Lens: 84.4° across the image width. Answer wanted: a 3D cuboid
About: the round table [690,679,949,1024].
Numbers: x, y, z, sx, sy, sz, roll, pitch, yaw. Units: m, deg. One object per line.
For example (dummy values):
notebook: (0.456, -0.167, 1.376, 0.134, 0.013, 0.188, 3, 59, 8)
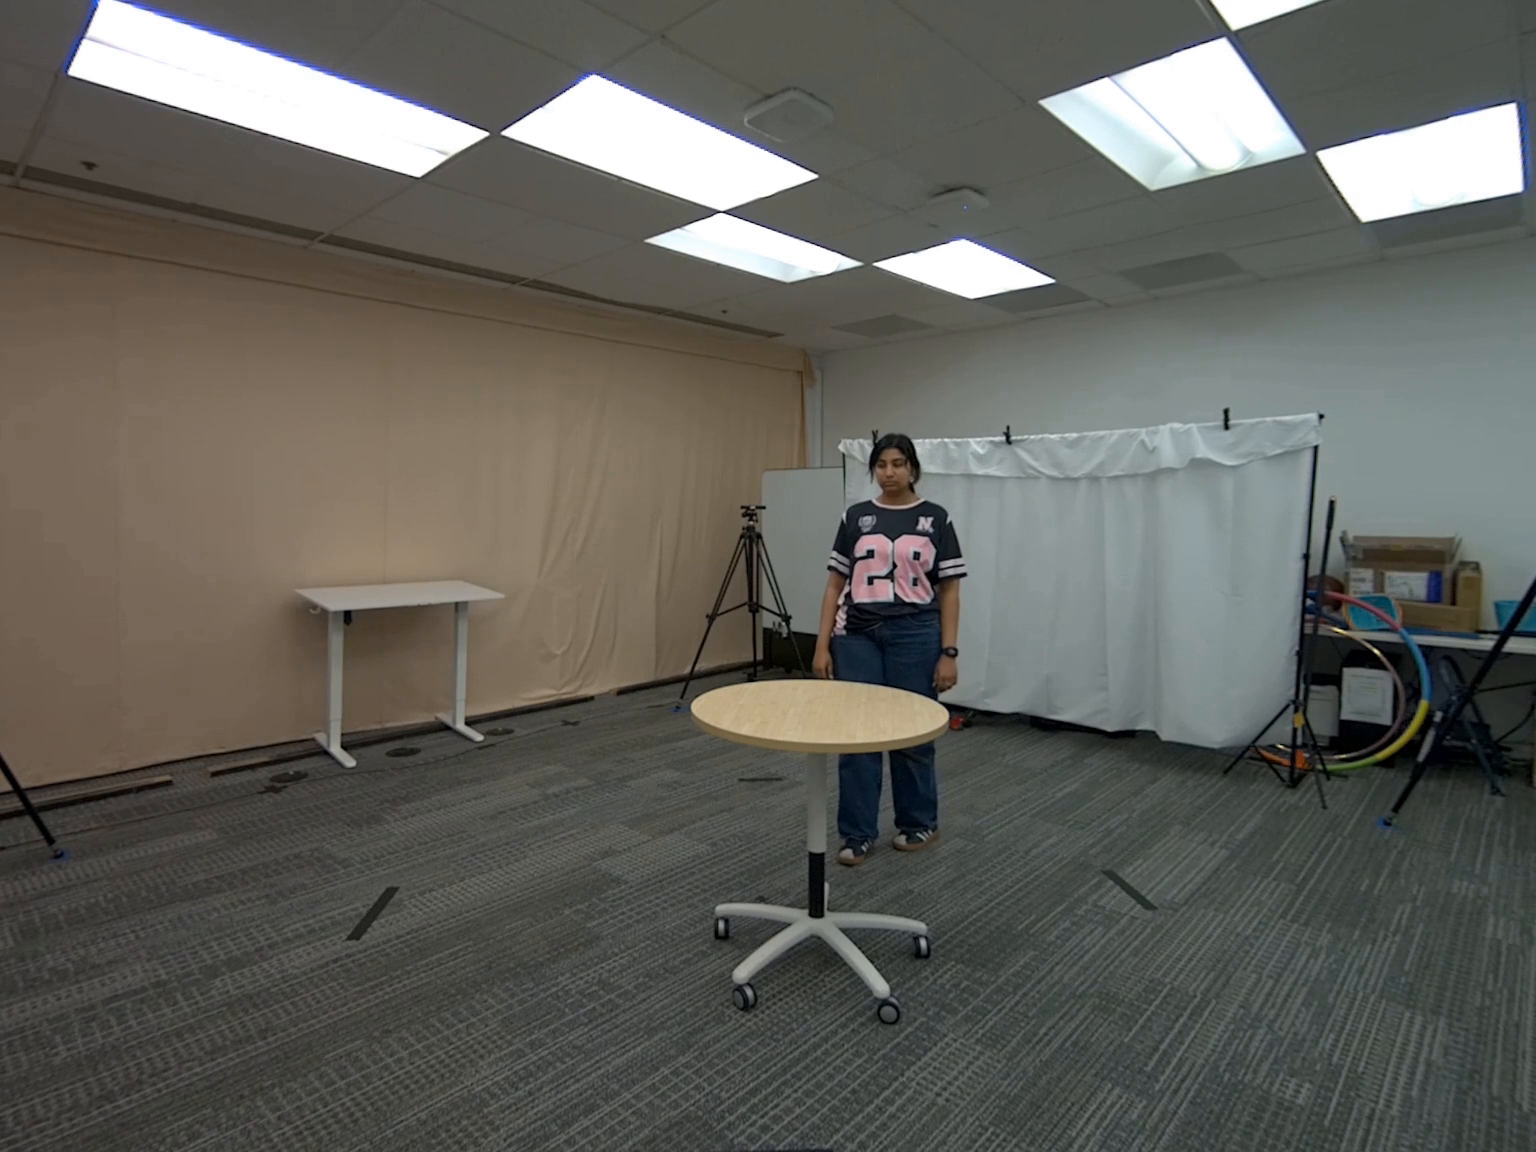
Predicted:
round table: (0.145, 0.792, 2.557, 0.763, 0.792, 0.767, 0, 4, -2)
